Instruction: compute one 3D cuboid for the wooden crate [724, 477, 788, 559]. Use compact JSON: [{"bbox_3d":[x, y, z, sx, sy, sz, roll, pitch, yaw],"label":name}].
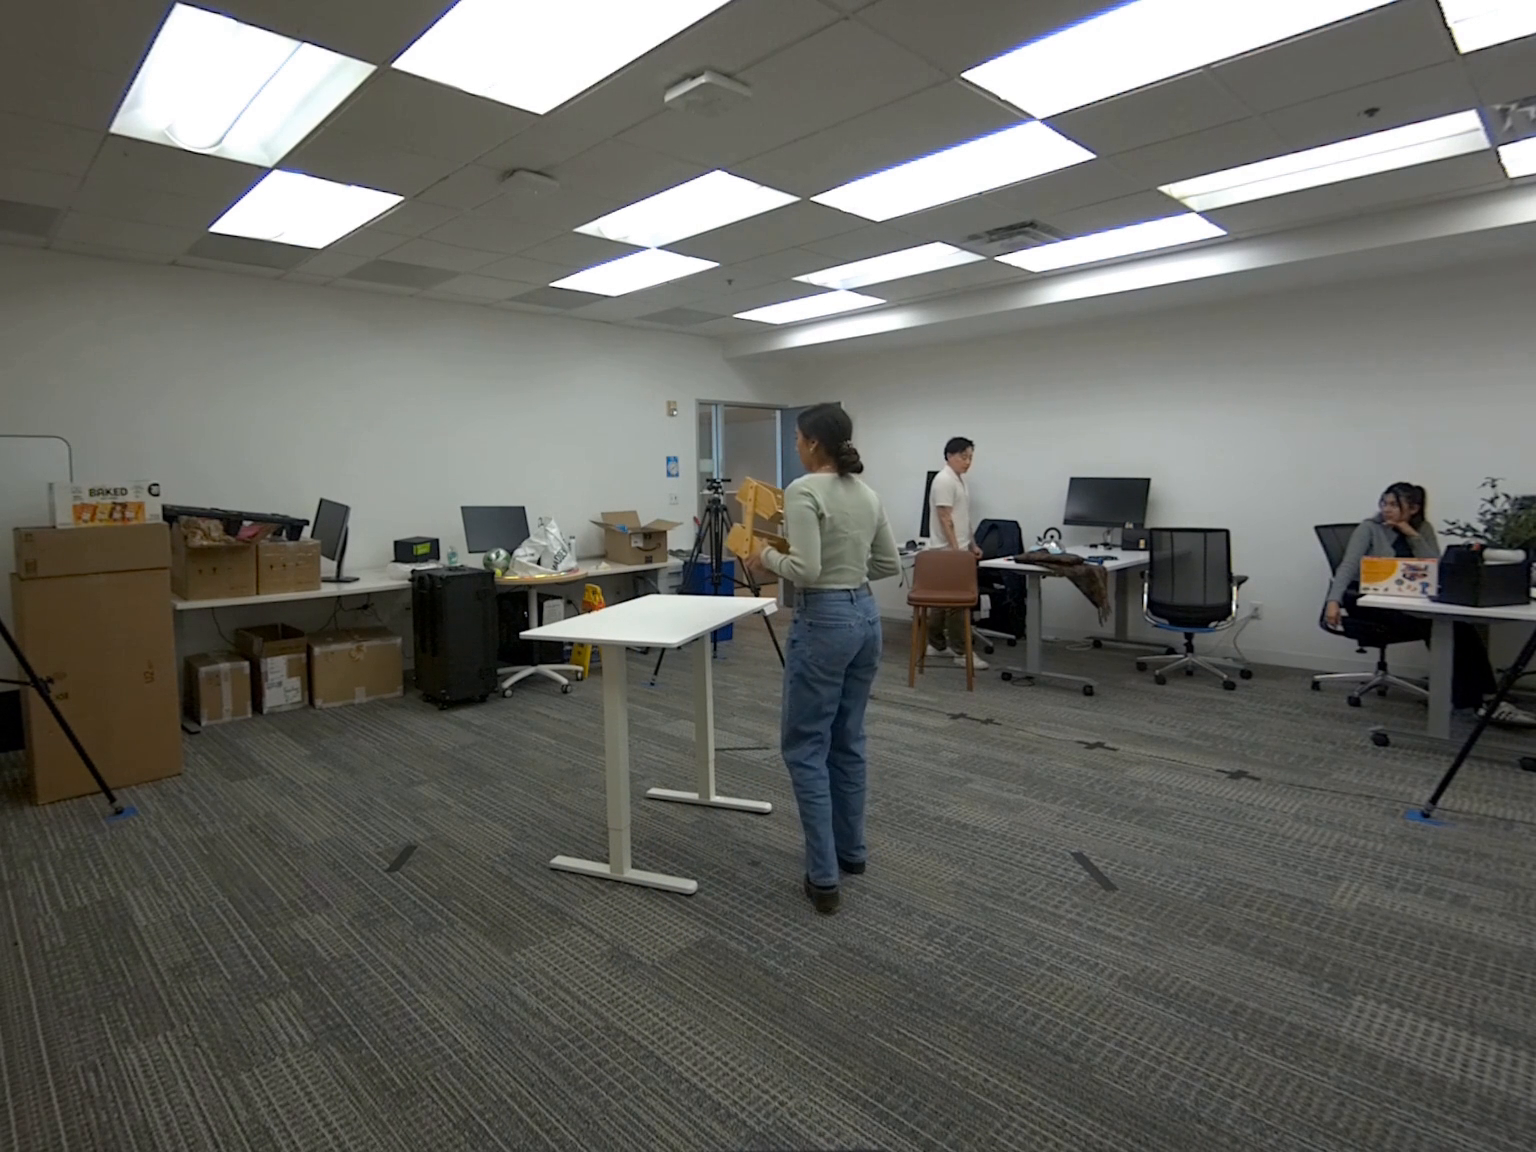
[{"bbox_3d":[0.055,-0.163,3.167,0.313,0.272,0.314,14,16,-47],"label":"wooden crate"}]
